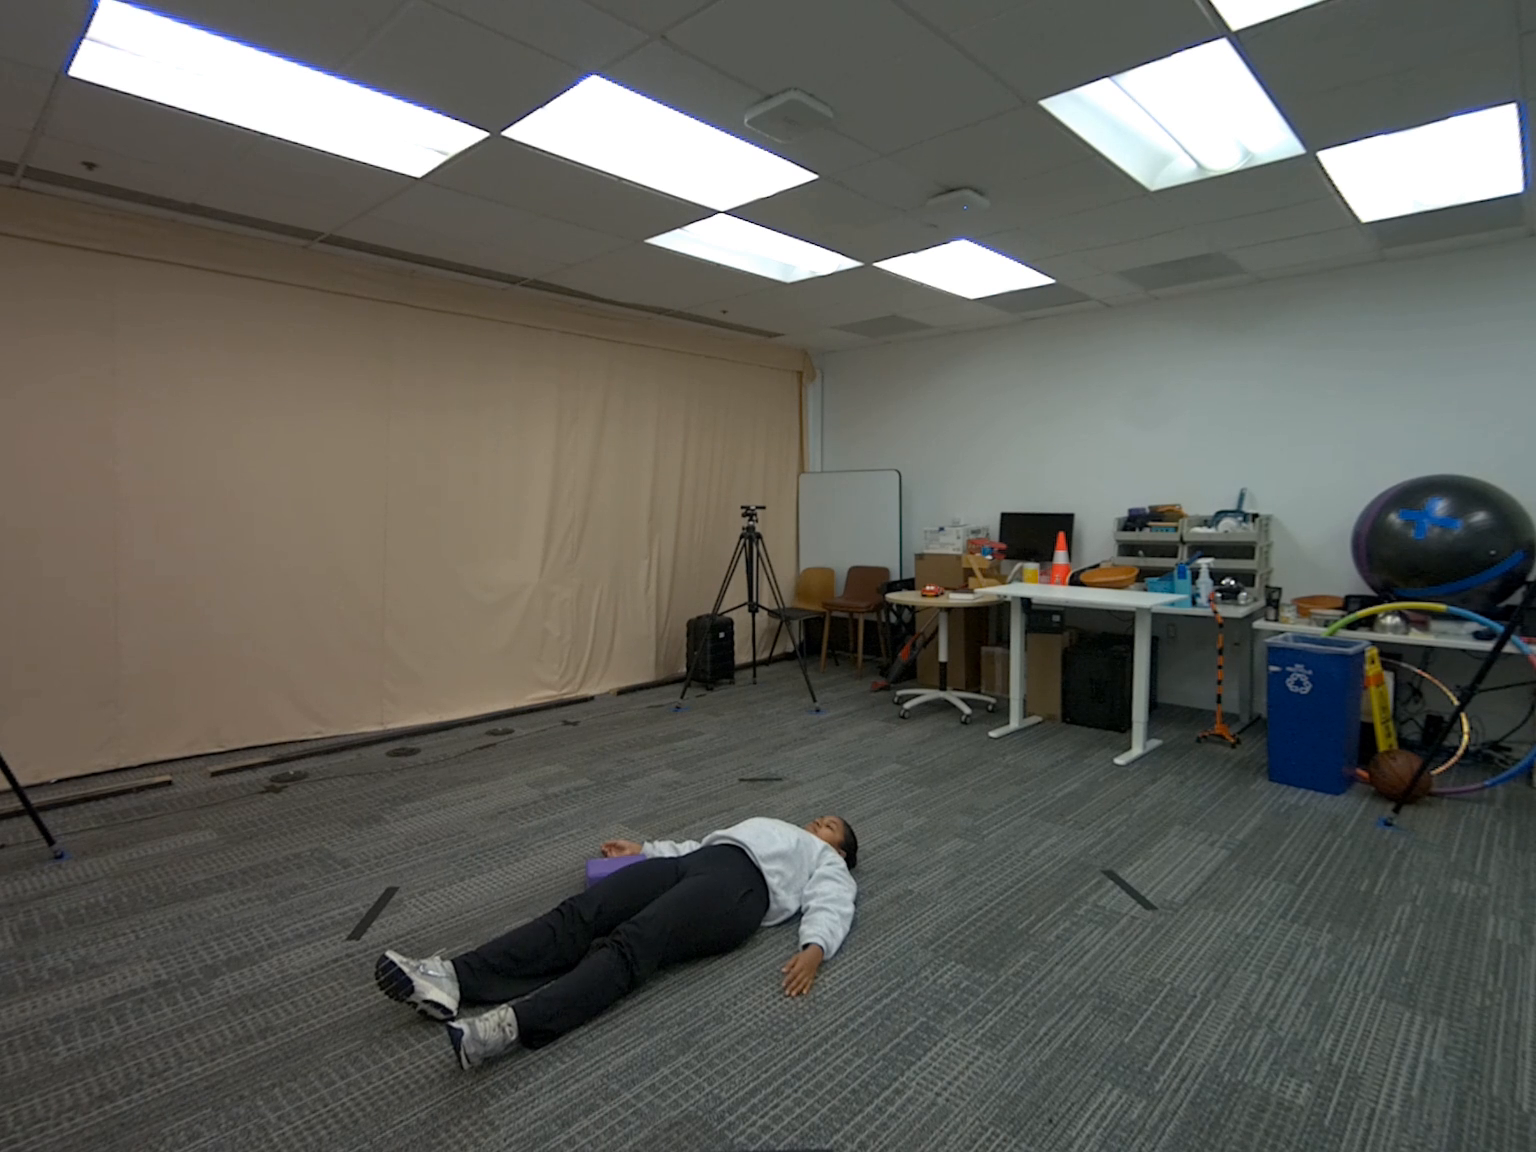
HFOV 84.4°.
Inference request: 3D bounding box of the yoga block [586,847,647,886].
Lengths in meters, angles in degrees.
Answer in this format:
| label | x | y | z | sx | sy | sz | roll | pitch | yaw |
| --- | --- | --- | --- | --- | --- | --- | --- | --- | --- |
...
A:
| label | x | y | z | sx | sy | sz | roll | pitch | yaw |
| --- | --- | --- | --- | --- | --- | --- | --- | --- | --- |
| yoga block | -0.556 | 1.102 | 3.101 | 0.226 | 0.076 | 0.151 | -1 | 5 | -13 |
